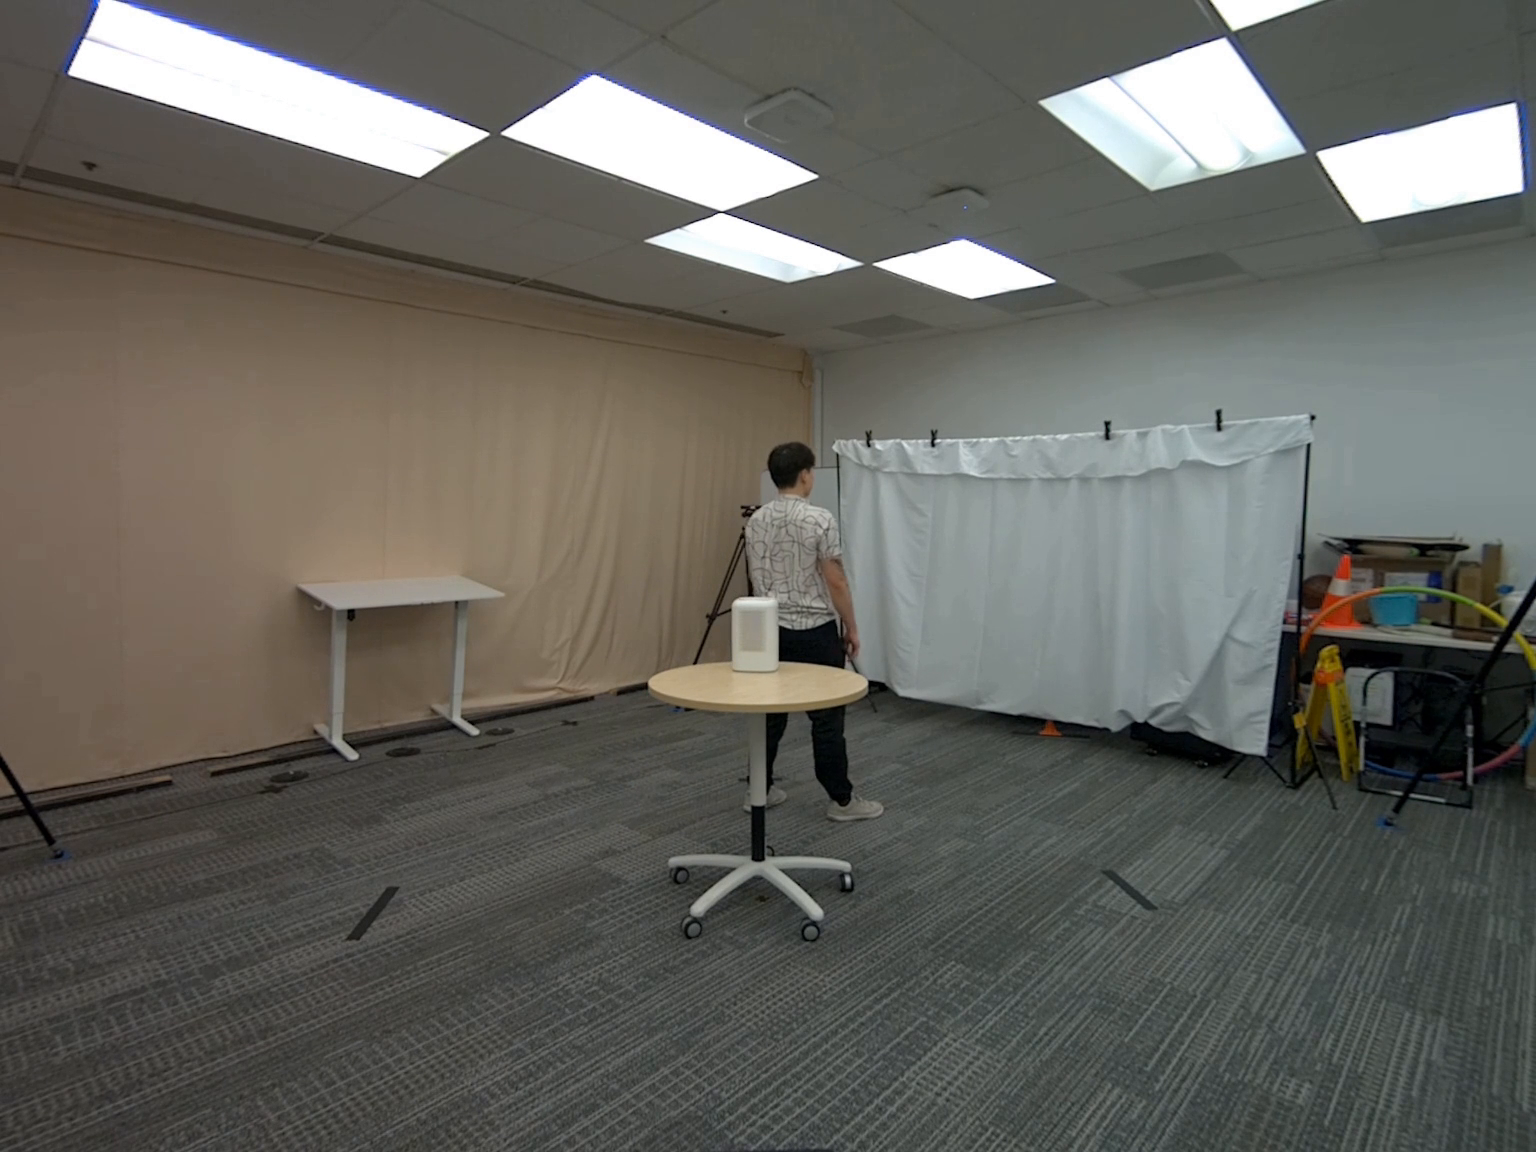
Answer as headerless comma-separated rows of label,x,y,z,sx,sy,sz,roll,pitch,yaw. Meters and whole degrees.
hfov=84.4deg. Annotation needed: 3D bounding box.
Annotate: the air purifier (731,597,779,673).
air purifier,-0.045,0.216,3.180,0.174,0.265,0.169,-1,3,11
